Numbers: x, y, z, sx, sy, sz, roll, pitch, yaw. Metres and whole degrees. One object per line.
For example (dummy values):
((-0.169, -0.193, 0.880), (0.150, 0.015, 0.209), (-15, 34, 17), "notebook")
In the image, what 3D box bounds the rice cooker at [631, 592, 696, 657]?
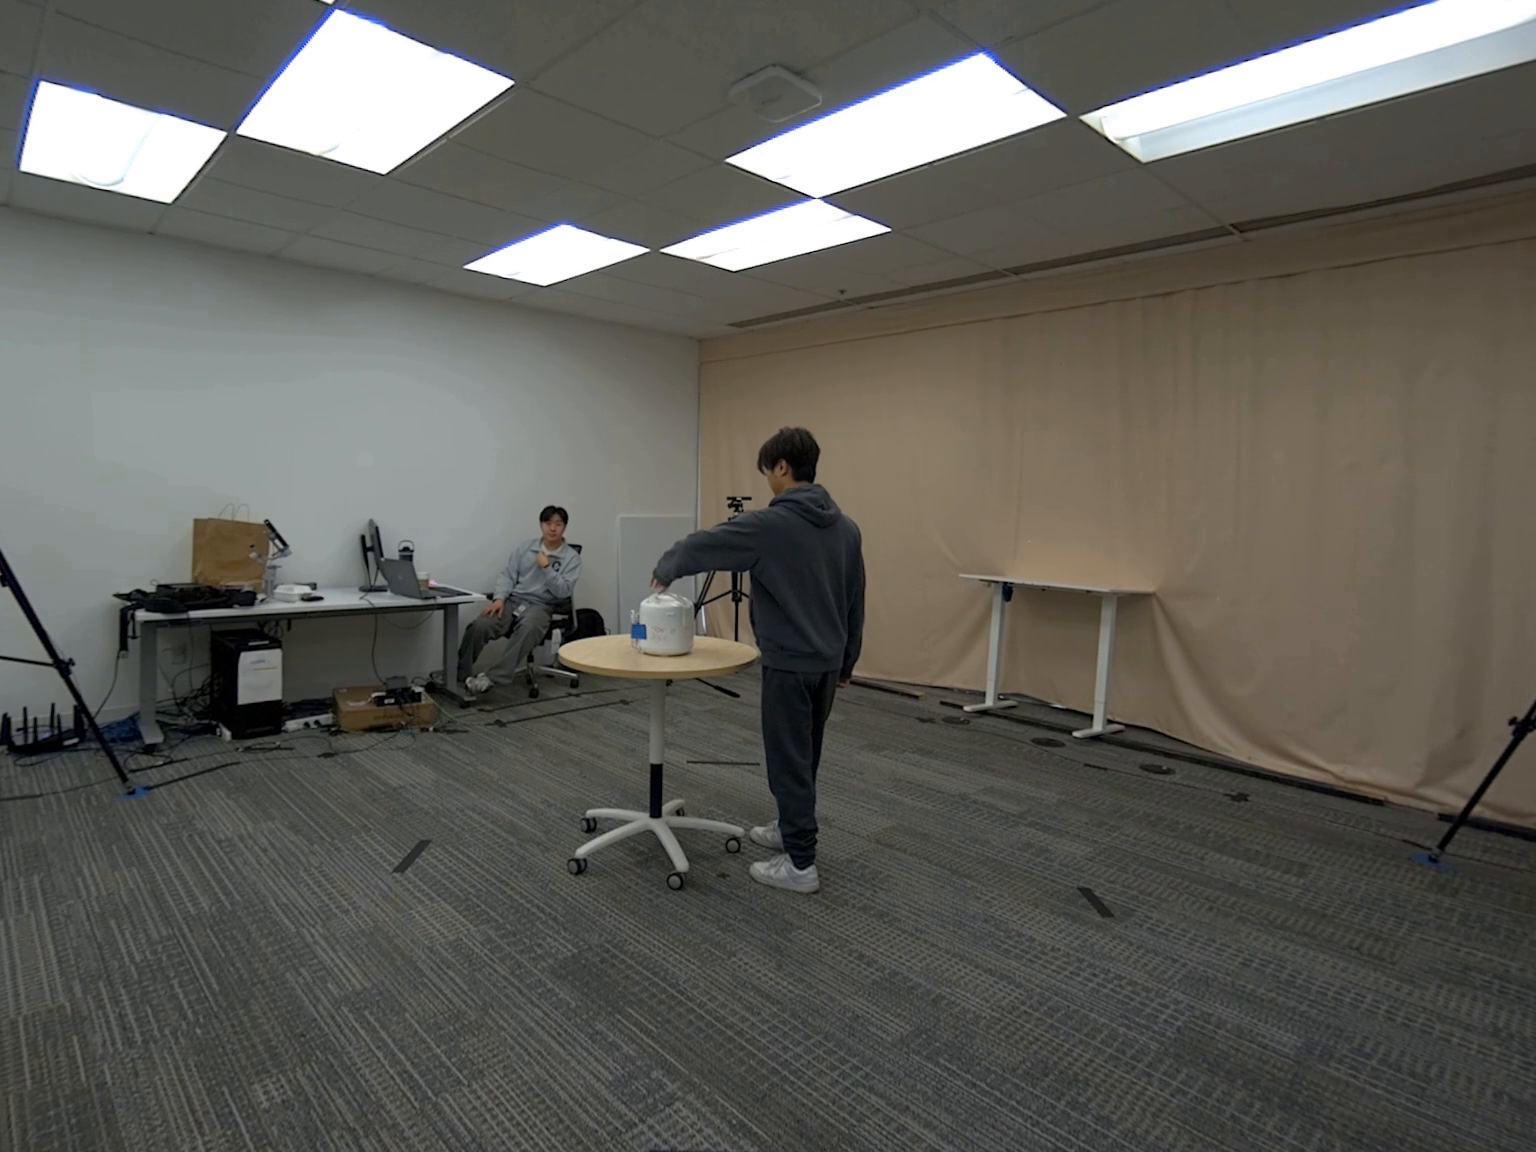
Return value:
((-0.390, 0.176, 3.221), (0.226, 0.232, 0.213), (5, 6, 37), "rice cooker")
